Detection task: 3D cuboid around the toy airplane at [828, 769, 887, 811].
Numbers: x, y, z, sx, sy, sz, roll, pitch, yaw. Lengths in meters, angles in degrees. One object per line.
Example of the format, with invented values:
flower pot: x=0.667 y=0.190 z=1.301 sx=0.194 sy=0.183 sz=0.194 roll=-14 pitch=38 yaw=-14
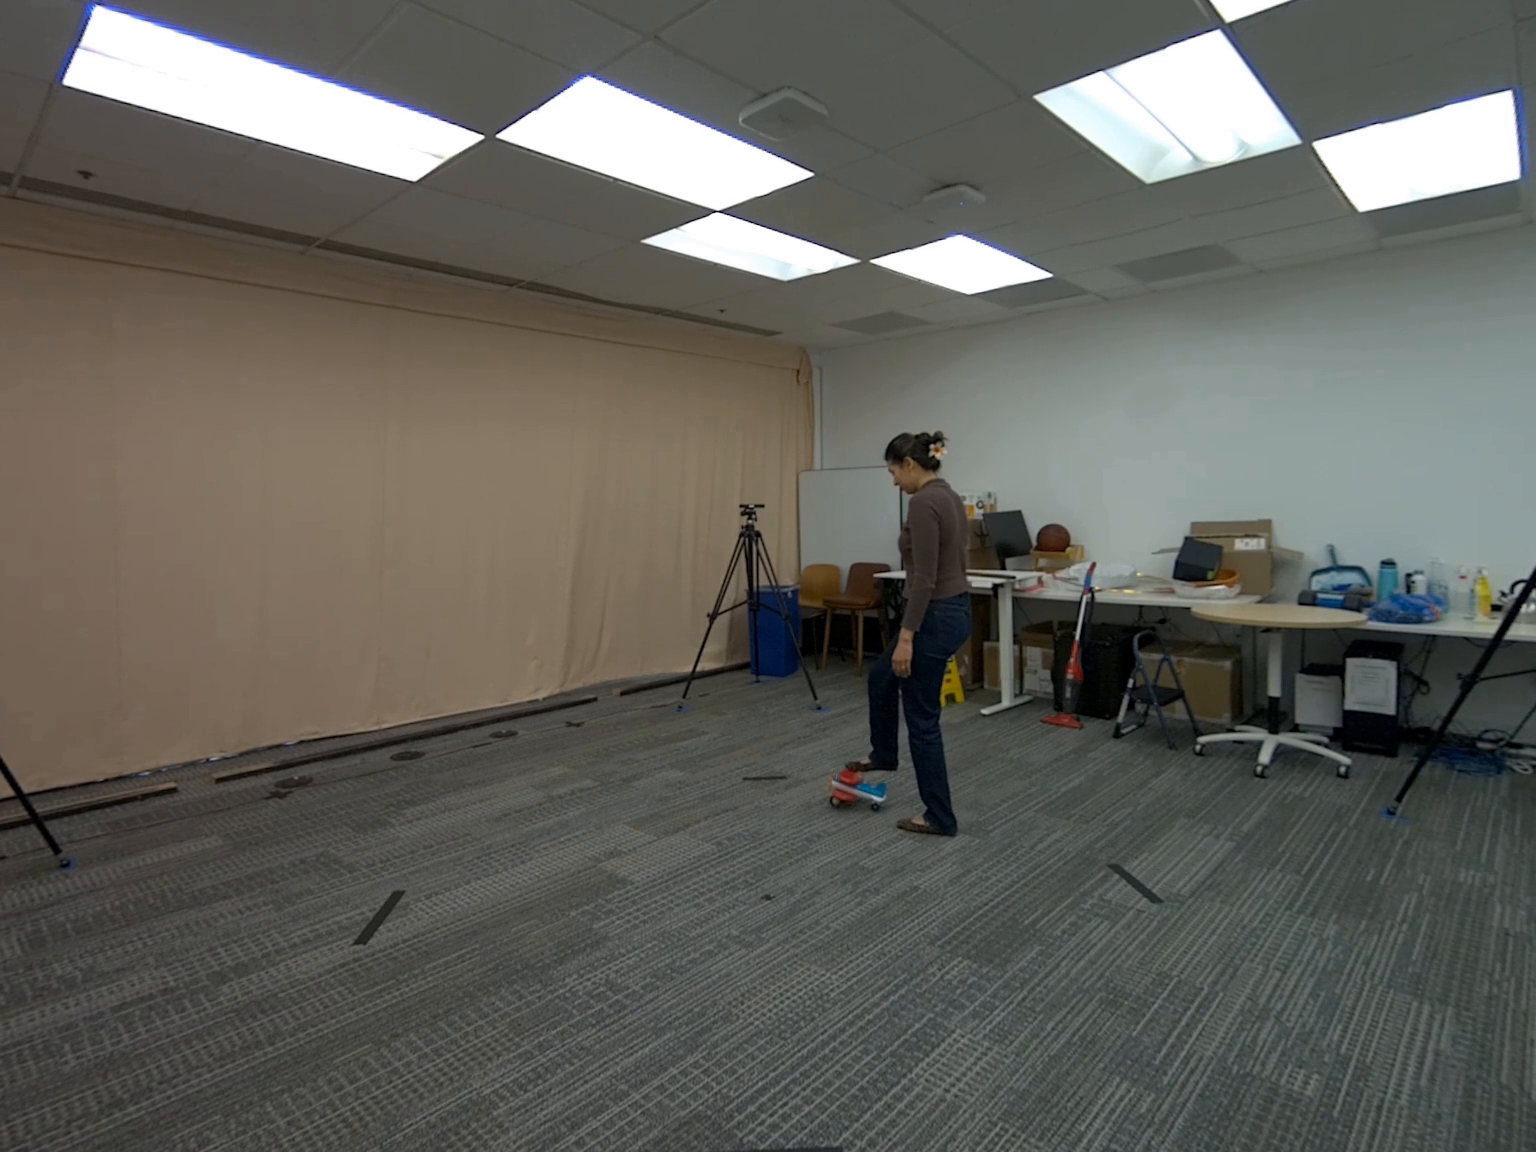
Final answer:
toy airplane: x=0.410 y=0.984 z=3.875 sx=0.258 sy=0.157 sz=0.252 roll=3 pitch=-4 yaw=-6
